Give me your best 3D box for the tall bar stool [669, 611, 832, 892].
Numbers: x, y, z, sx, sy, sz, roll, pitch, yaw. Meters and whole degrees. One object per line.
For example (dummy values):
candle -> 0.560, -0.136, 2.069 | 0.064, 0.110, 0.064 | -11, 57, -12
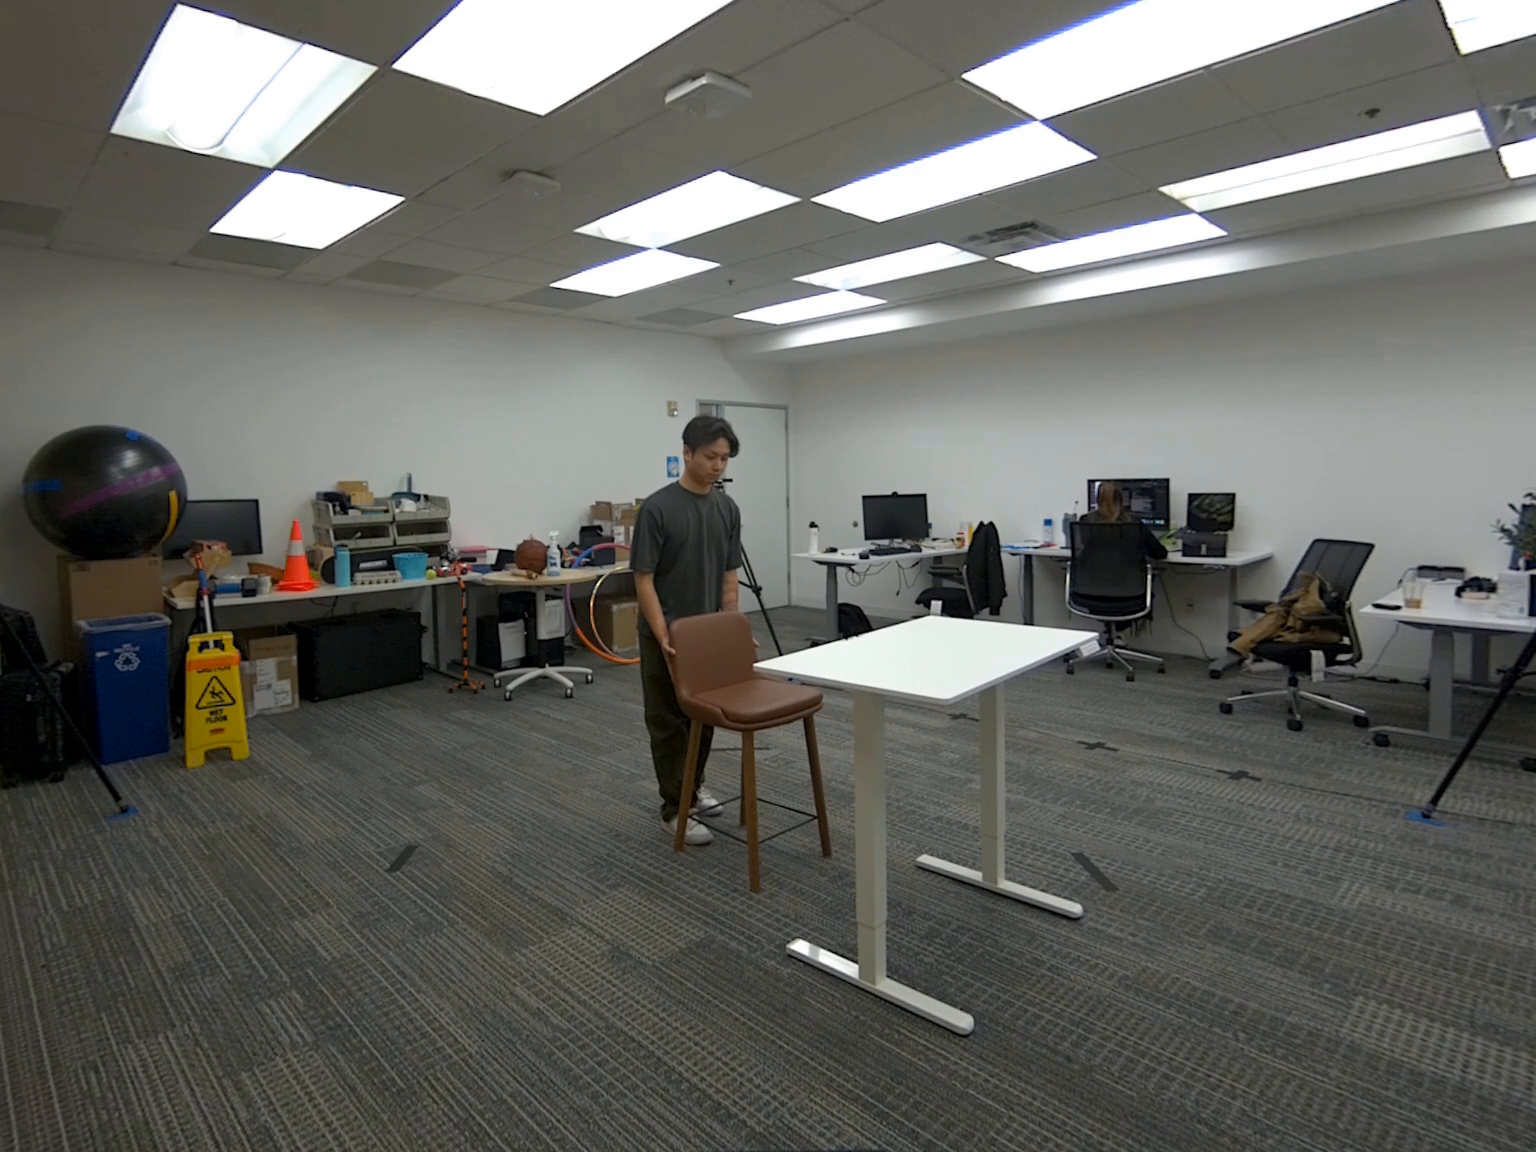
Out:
tall bar stool -> -0.072, 0.603, 3.161 | 0.481, 0.888, 0.444 | 0, 4, 45
